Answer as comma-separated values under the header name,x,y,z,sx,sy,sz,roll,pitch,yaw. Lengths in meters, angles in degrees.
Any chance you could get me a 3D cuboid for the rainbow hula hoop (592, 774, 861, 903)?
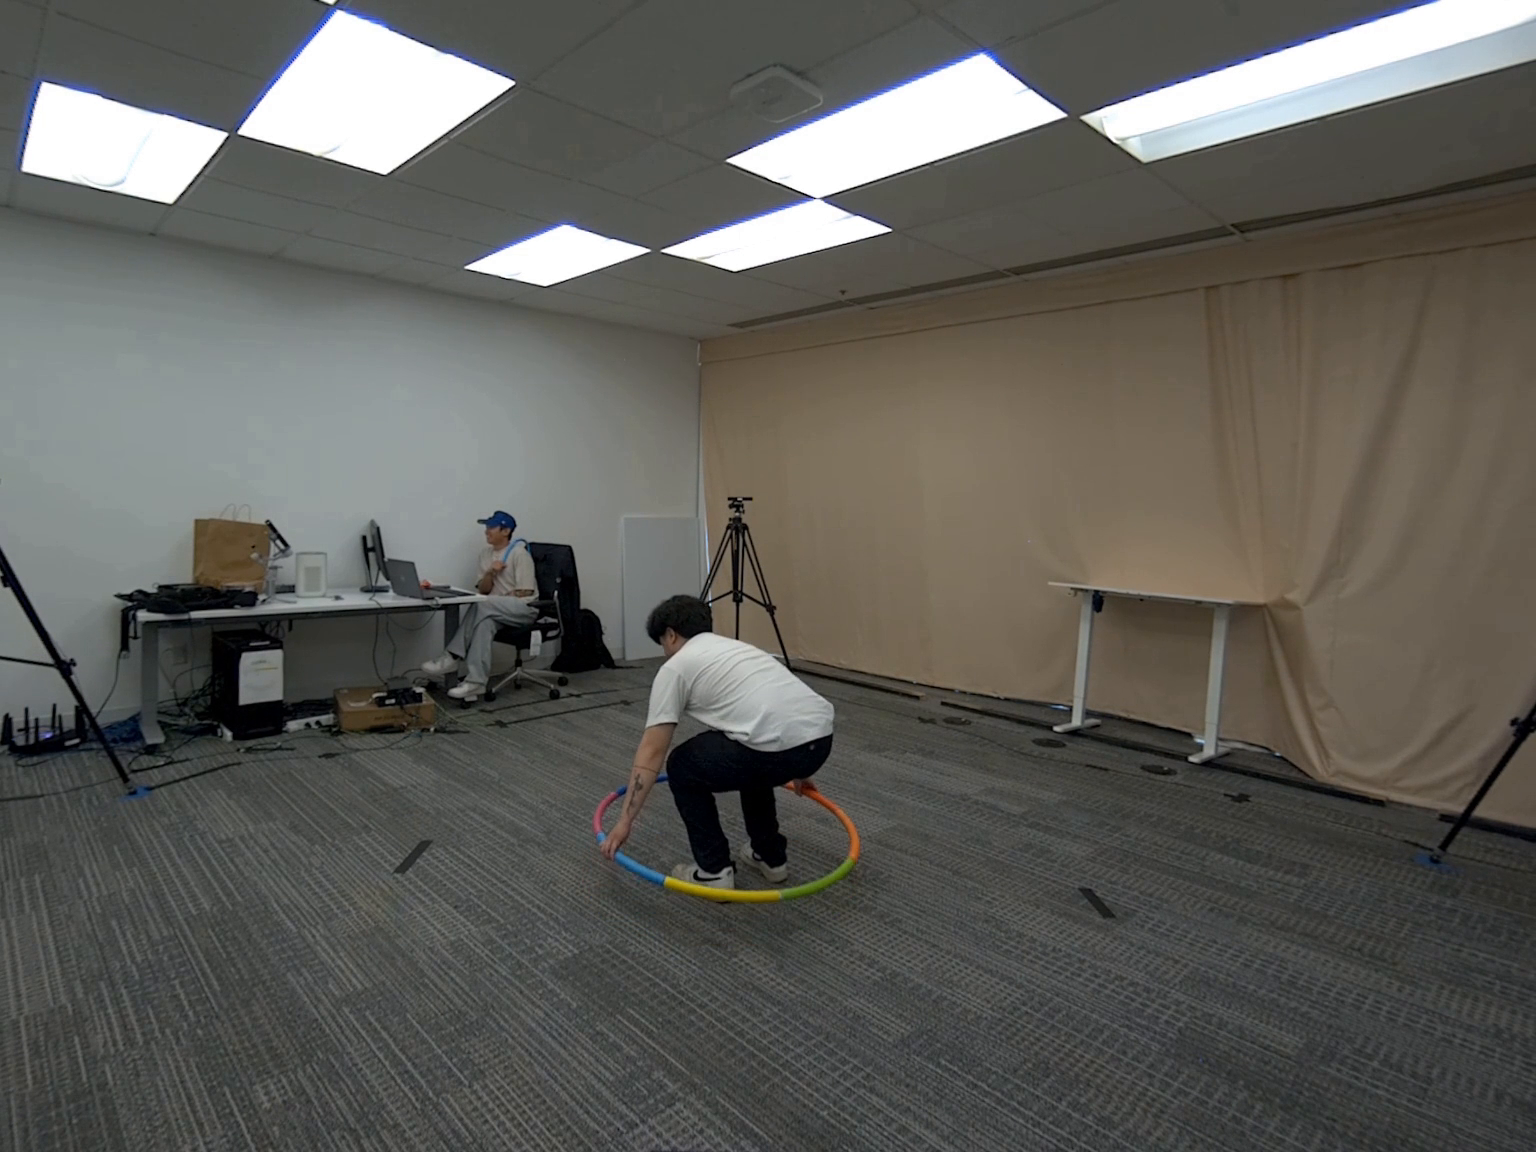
name,x,y,z,sx,sy,sz,roll,pitch,yaw
rainbow hula hoop,-0.167,0.919,3.117,0.984,0.051,0.992,5,9,-2
